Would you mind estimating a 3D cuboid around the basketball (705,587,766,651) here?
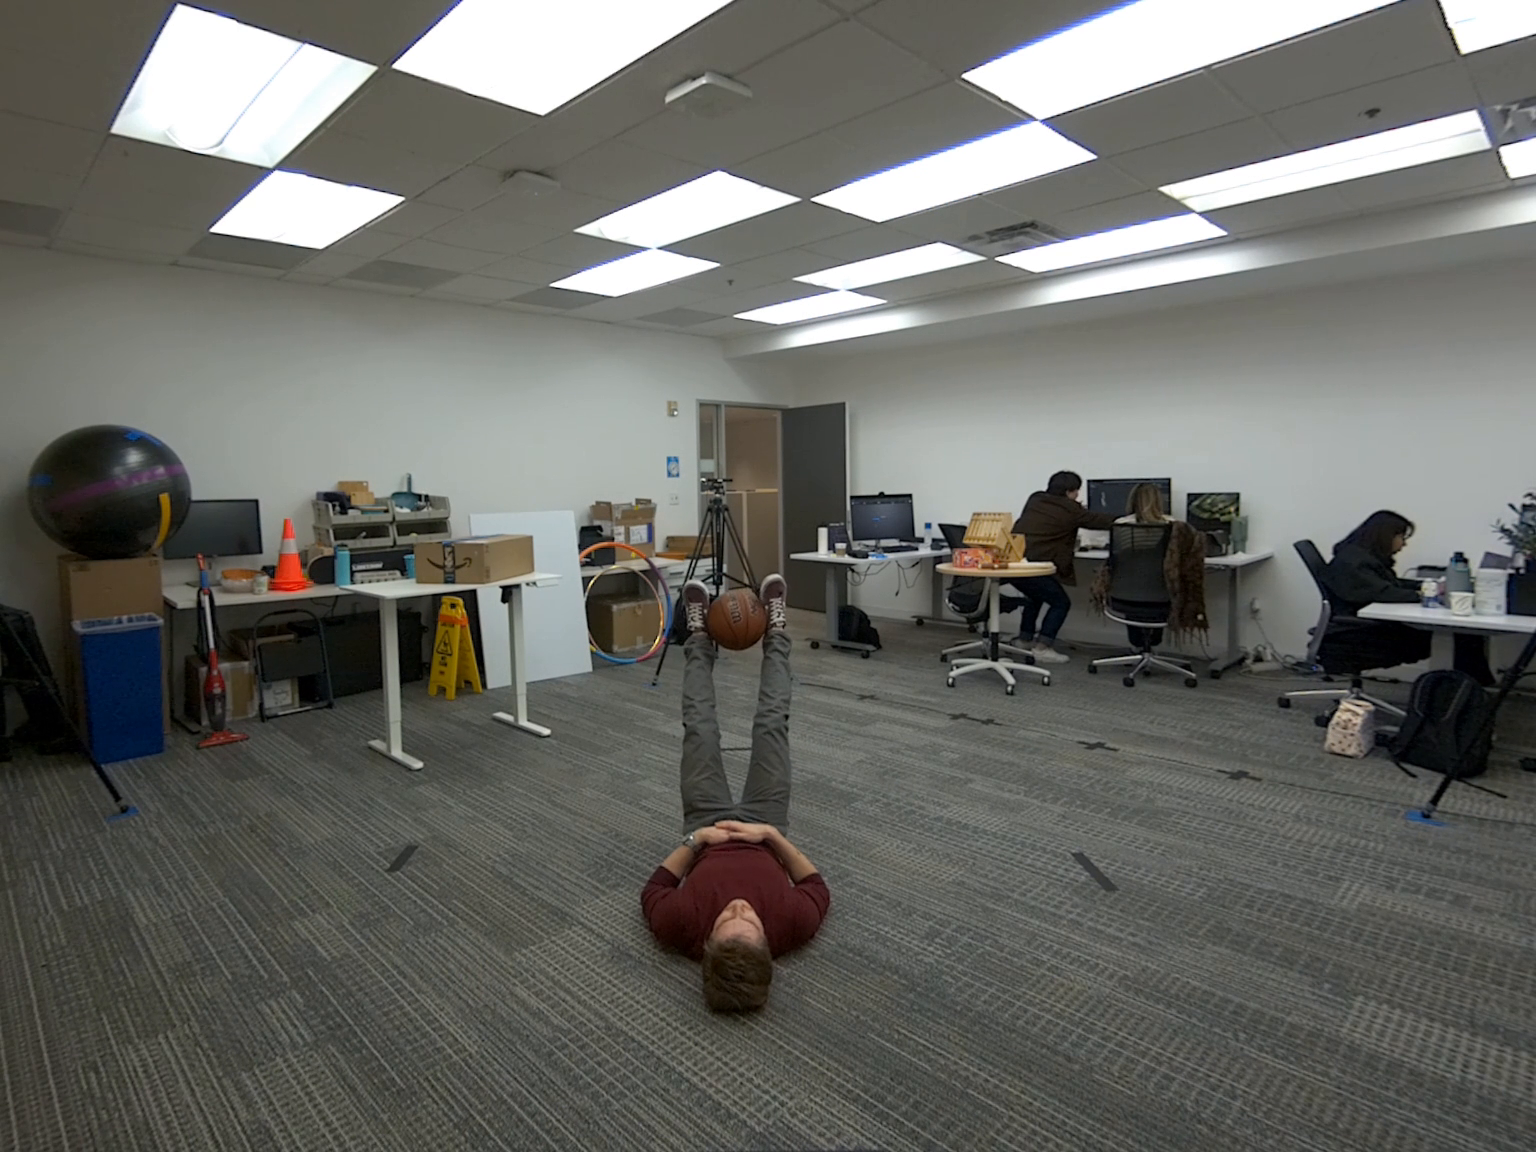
[{"bbox_3d":[-0.123,0.176,3.398,0.236,0.236,0.236,0,1,-2],"label":"basketball"}]
